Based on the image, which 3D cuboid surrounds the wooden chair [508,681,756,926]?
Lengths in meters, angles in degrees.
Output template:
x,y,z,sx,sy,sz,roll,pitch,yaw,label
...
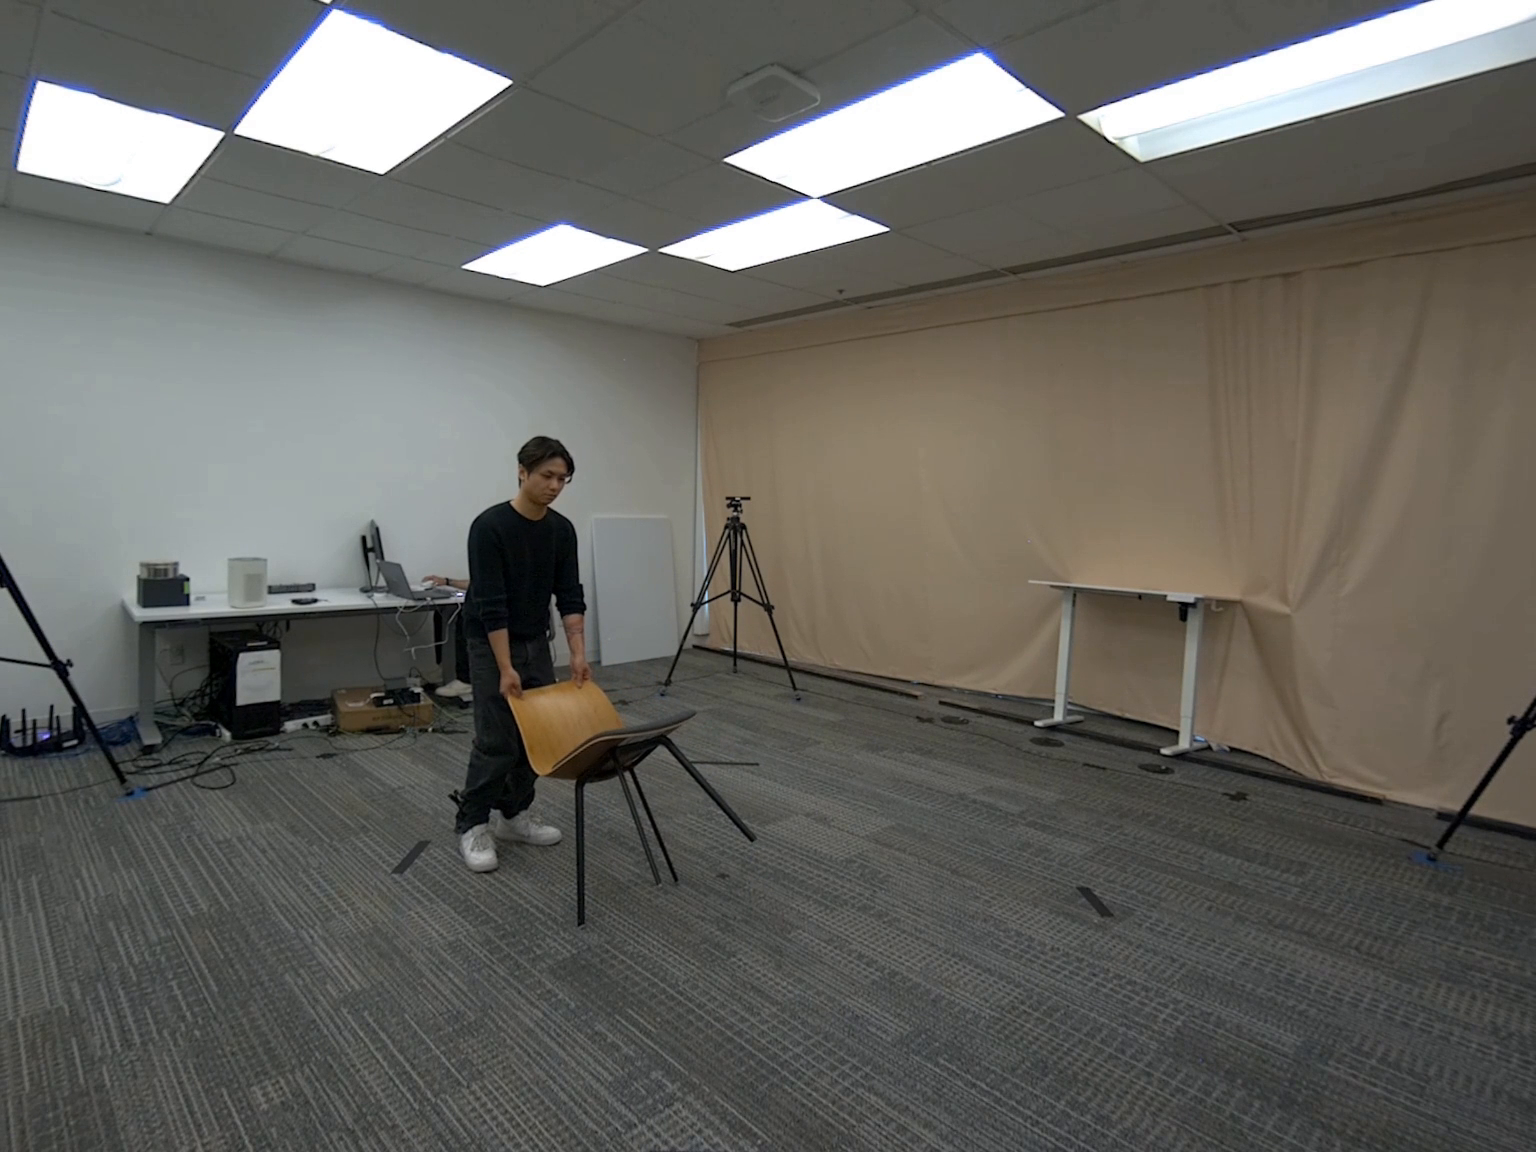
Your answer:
x,y,z,sx,sy,sz,roll,pitch,yaw,label
-0.500,0.637,2.878,0.467,0.897,0.523,-3,-34,-49,wooden chair
